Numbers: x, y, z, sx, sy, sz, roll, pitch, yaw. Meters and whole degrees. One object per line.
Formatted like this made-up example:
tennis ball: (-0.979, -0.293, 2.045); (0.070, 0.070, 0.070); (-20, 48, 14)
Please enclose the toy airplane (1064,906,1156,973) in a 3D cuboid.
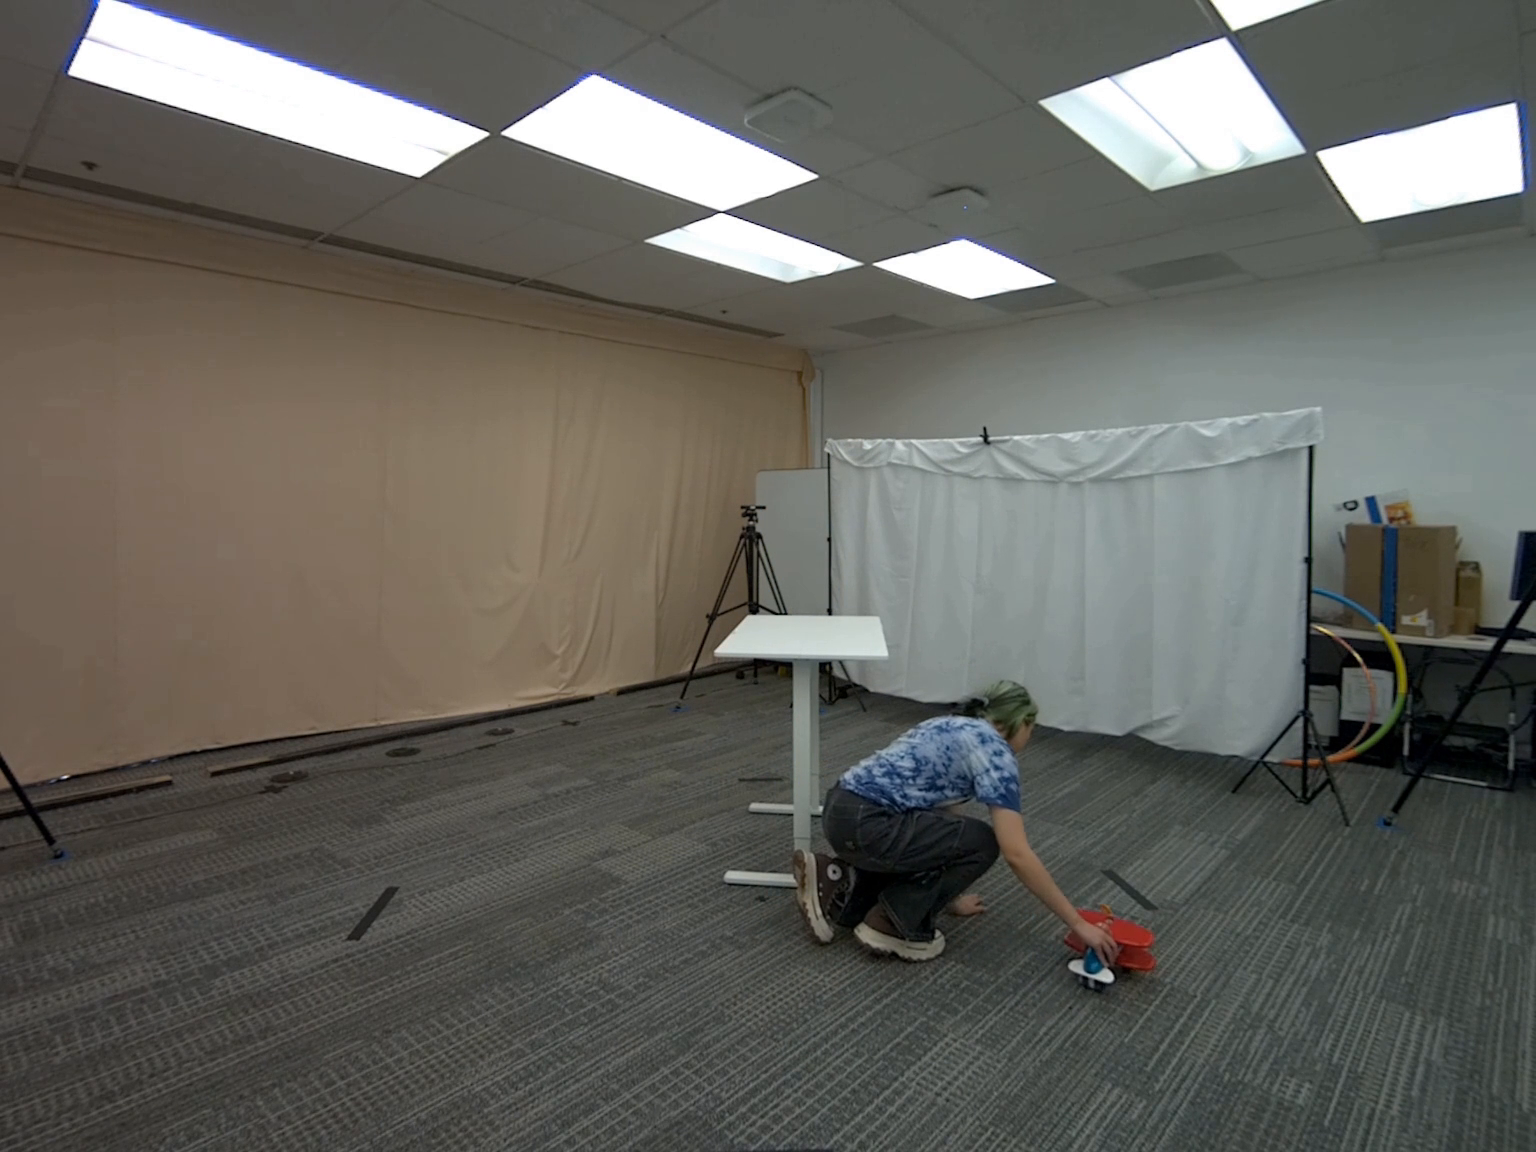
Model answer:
toy airplane: (1.020, 1.111, 2.471); (0.255, 0.156, 0.255); (1, 4, 15)
